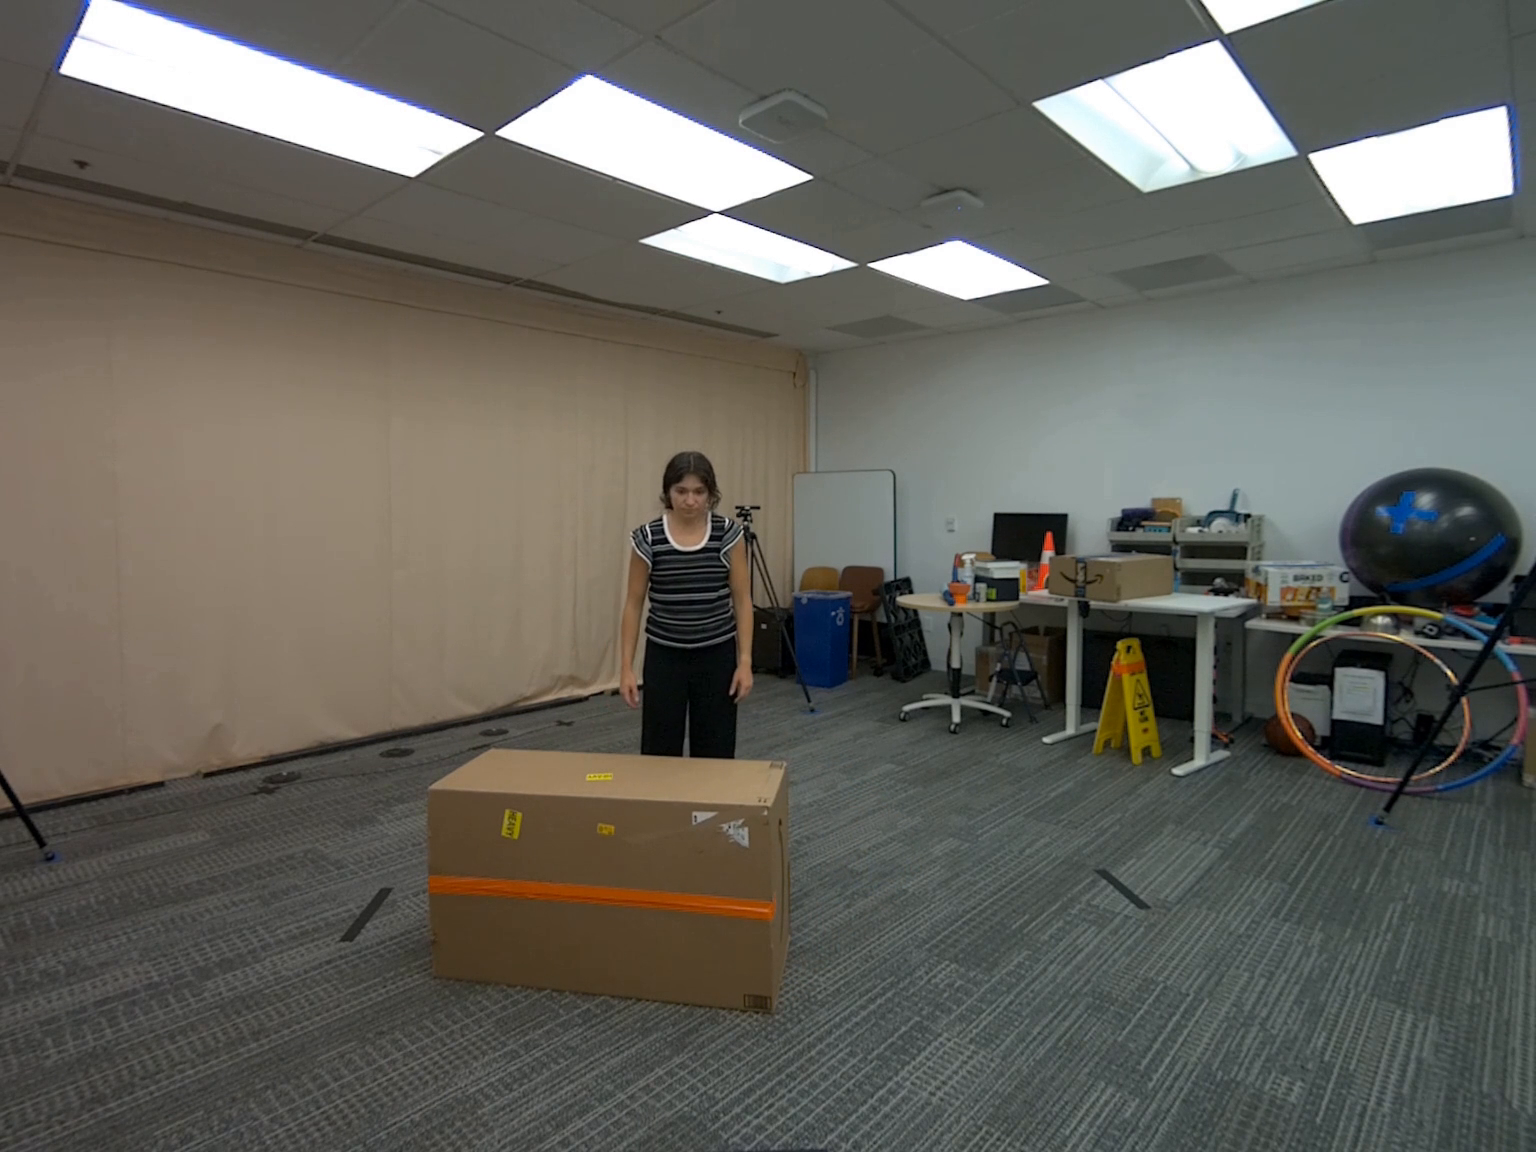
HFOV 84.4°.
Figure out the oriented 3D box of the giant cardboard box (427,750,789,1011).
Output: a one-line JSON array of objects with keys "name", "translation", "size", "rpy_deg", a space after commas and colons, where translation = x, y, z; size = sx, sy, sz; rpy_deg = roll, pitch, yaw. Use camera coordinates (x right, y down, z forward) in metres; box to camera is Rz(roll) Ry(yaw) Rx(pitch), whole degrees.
[{"name": "giant cardboard box", "translation": [-0.466, 0.895, 2.587], "size": [1.038, 0.576, 0.422], "rpy_deg": [0, 3, 10]}]
